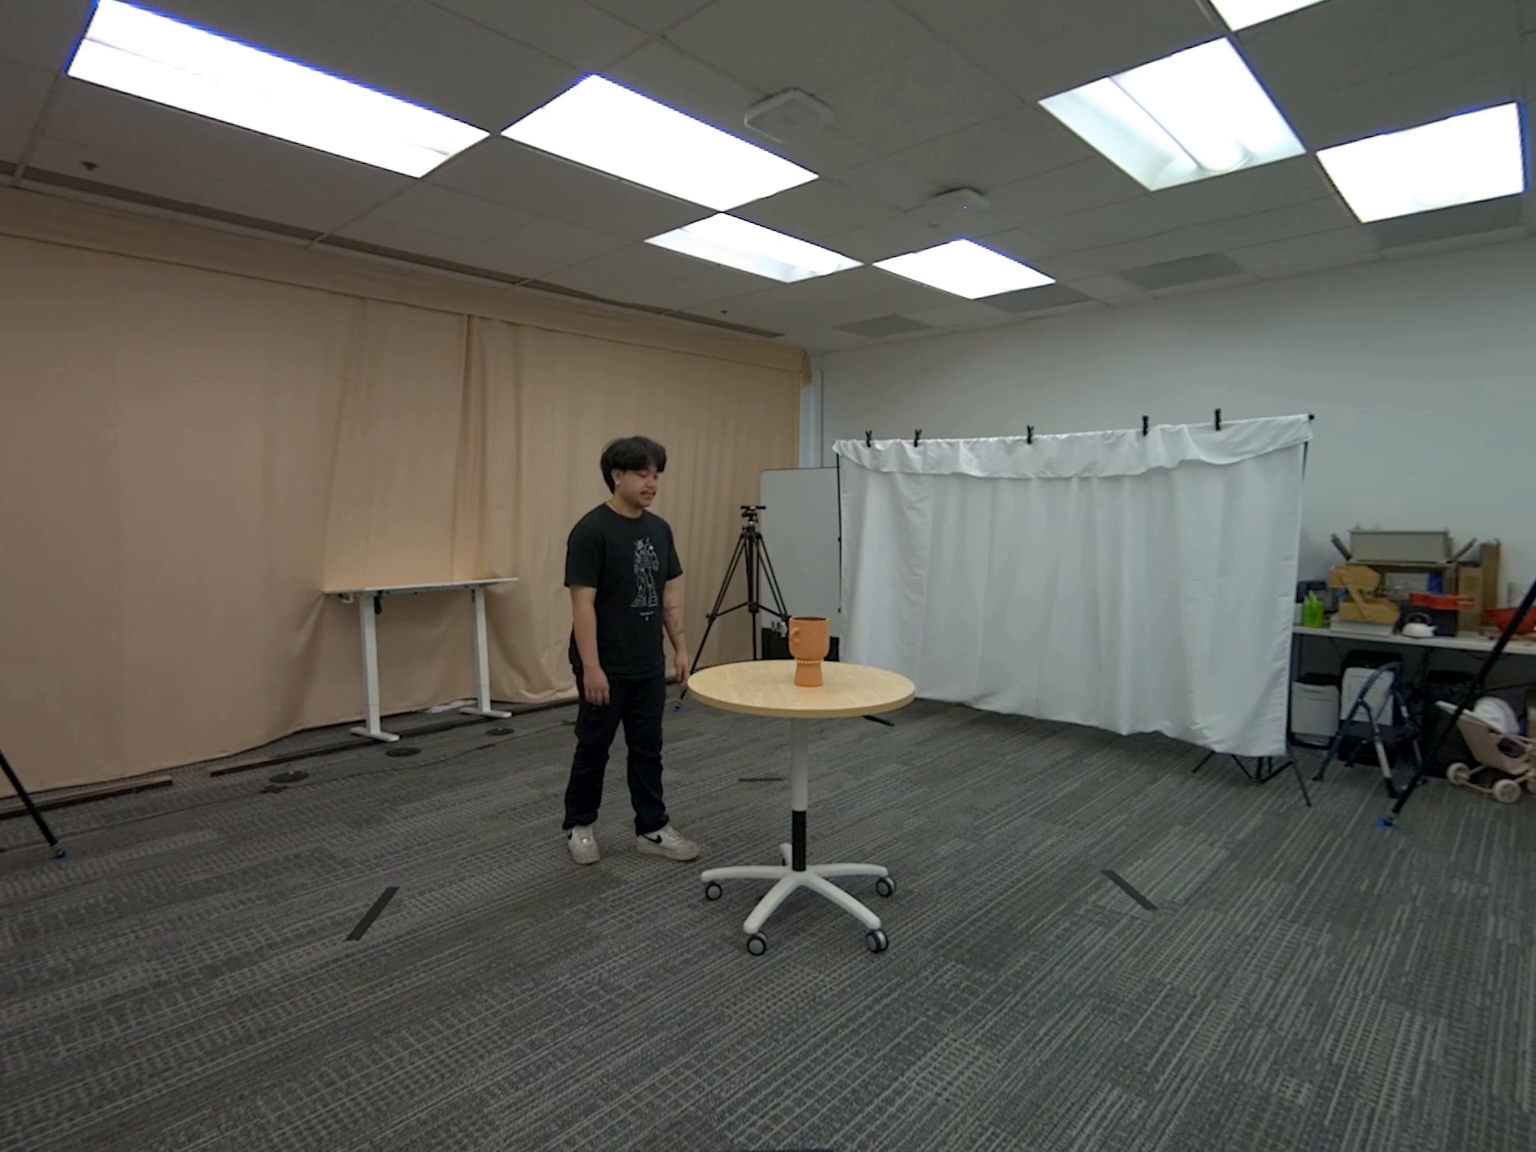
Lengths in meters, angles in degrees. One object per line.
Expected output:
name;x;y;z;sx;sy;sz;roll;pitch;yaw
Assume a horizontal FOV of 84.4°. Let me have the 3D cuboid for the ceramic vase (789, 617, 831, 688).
ceramic vase;0.142;0.255;2.819;0.157;0.219;0.136;1;3;-8
